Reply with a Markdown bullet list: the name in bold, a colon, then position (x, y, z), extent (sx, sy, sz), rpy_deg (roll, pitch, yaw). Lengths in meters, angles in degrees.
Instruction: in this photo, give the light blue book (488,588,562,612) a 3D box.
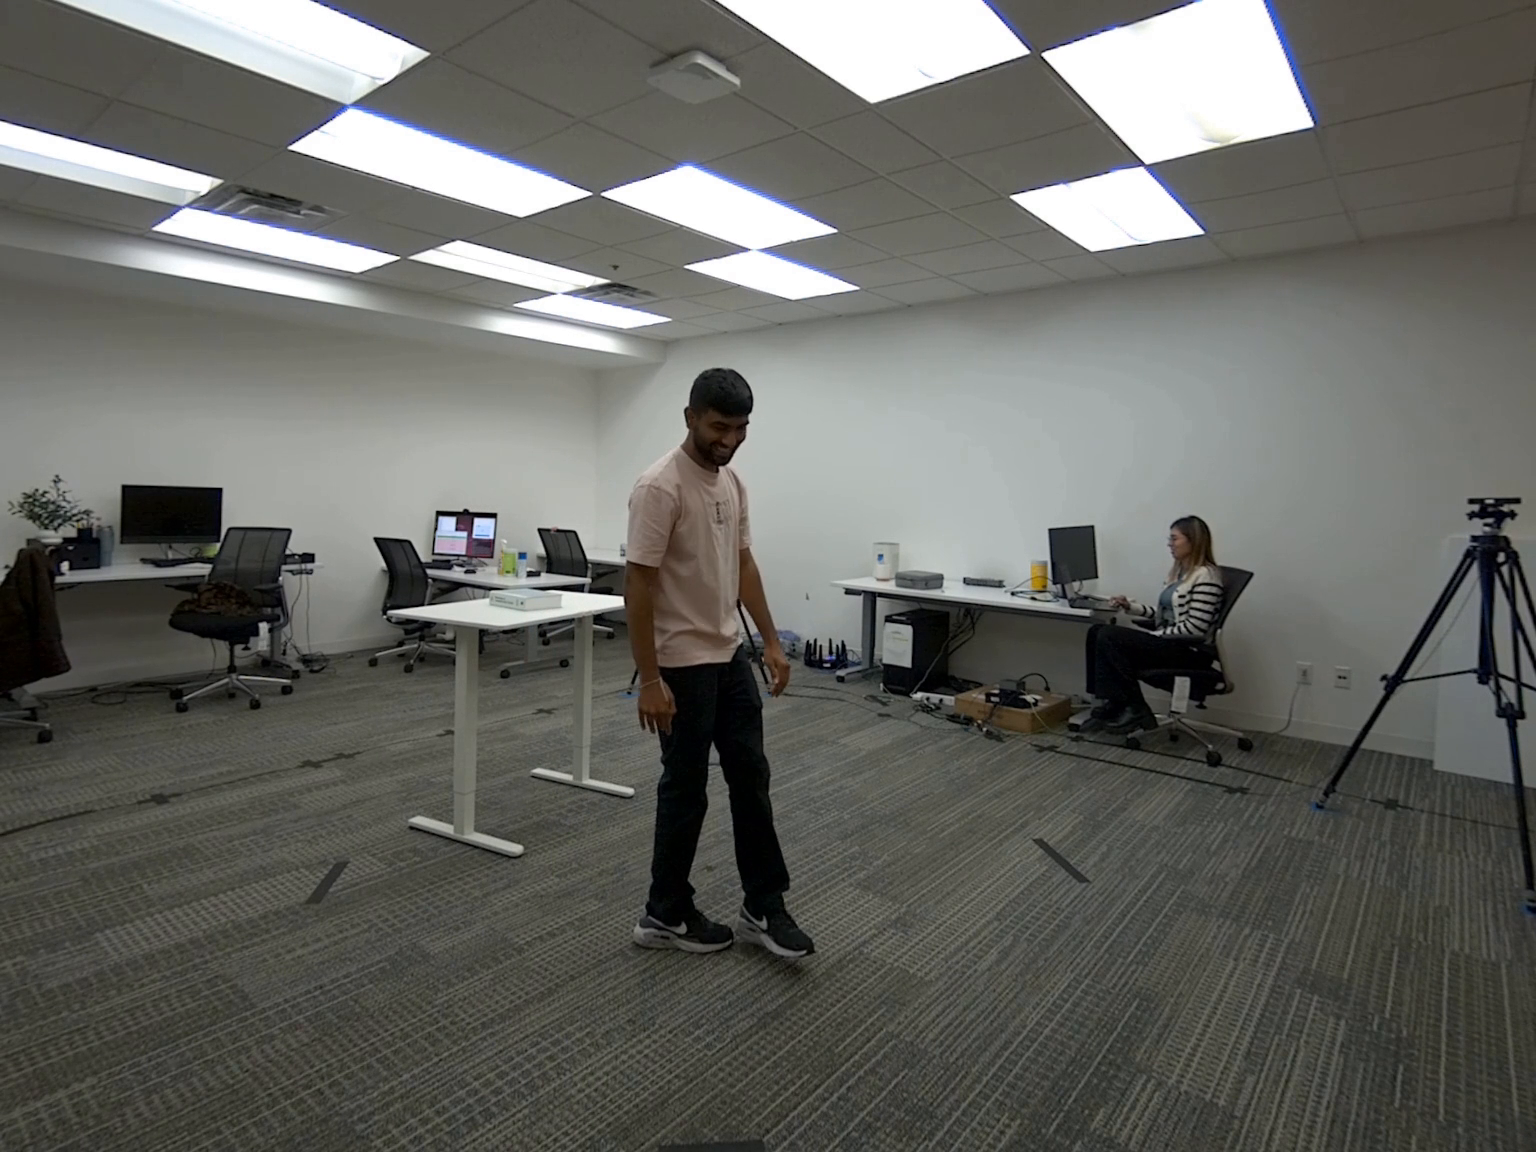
- **light blue book**: position (-1.033, 0.094, 3.576), extent (0.270, 0.059, 0.186), rpy_deg (6, 7, 40)
